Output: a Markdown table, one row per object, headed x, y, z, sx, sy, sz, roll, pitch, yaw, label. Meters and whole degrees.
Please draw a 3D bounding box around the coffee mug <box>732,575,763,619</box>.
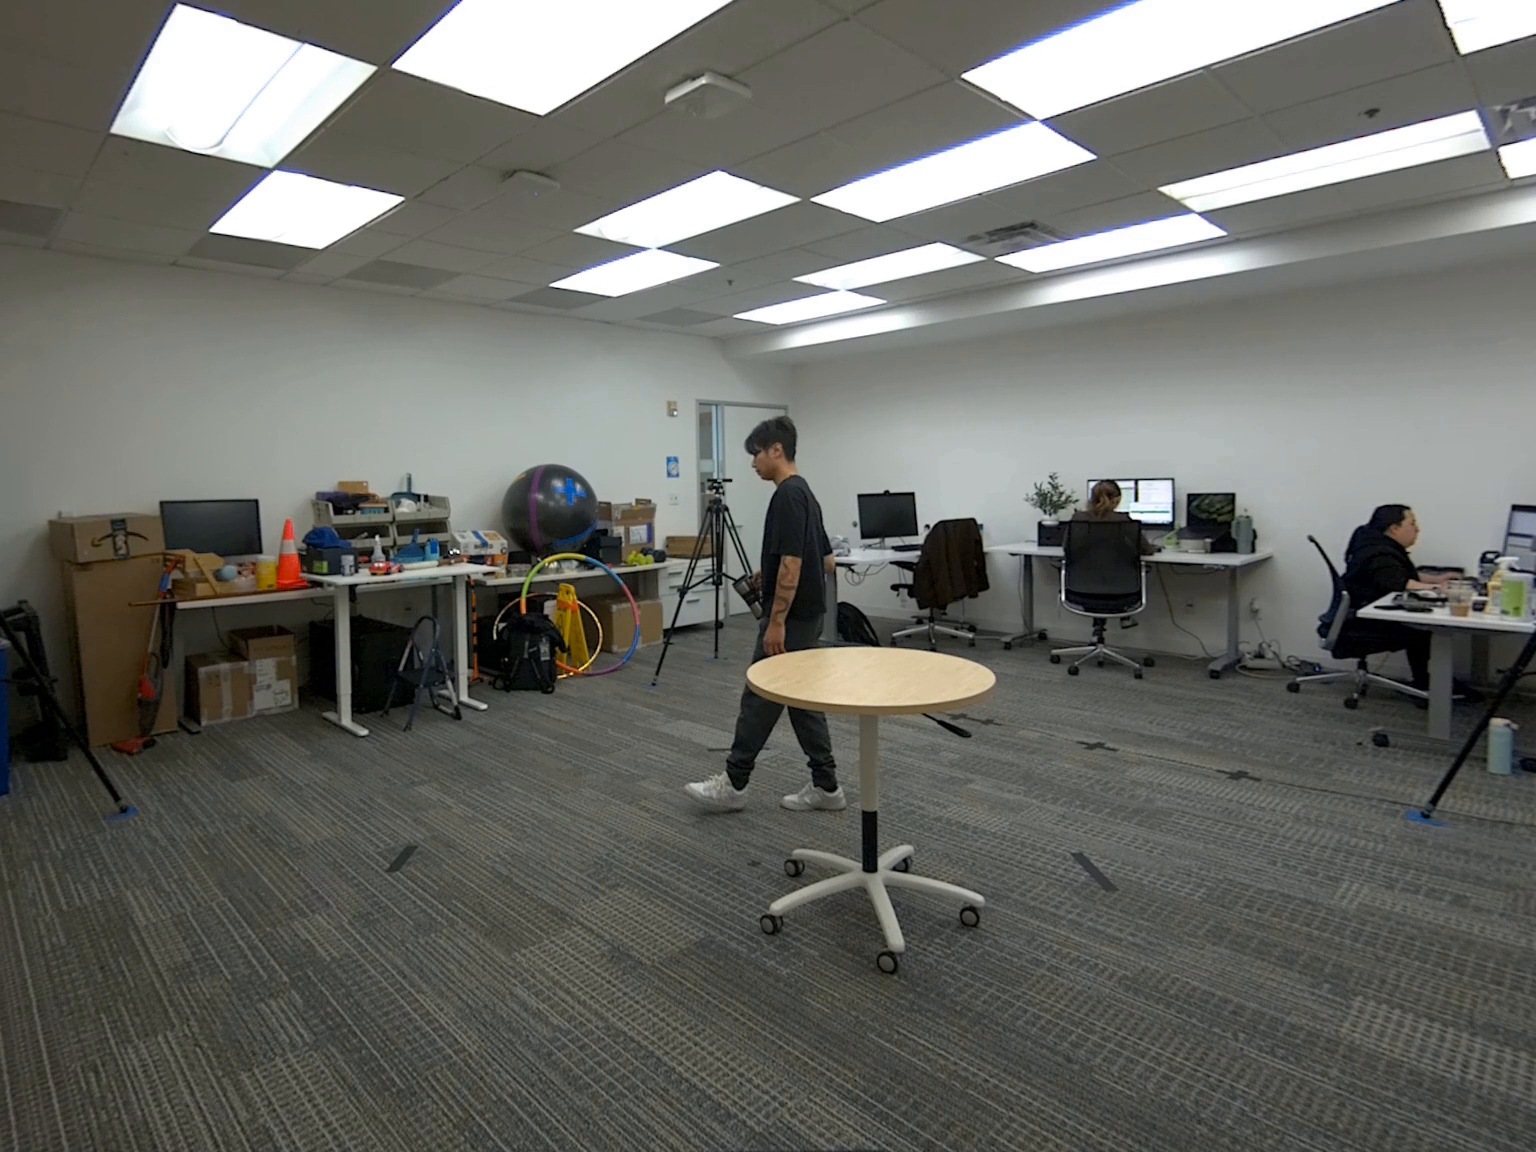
| x | y | z | sx | sy | sz | roll | pitch | yaw | label |
| --- | --- | --- | --- | --- | --- | --- | --- | --- | --- |
| -0.059 | 0.088 | 3.796 | 0.122 | 0.205 | 0.086 | -38 | -10 | 39 | coffee mug |
